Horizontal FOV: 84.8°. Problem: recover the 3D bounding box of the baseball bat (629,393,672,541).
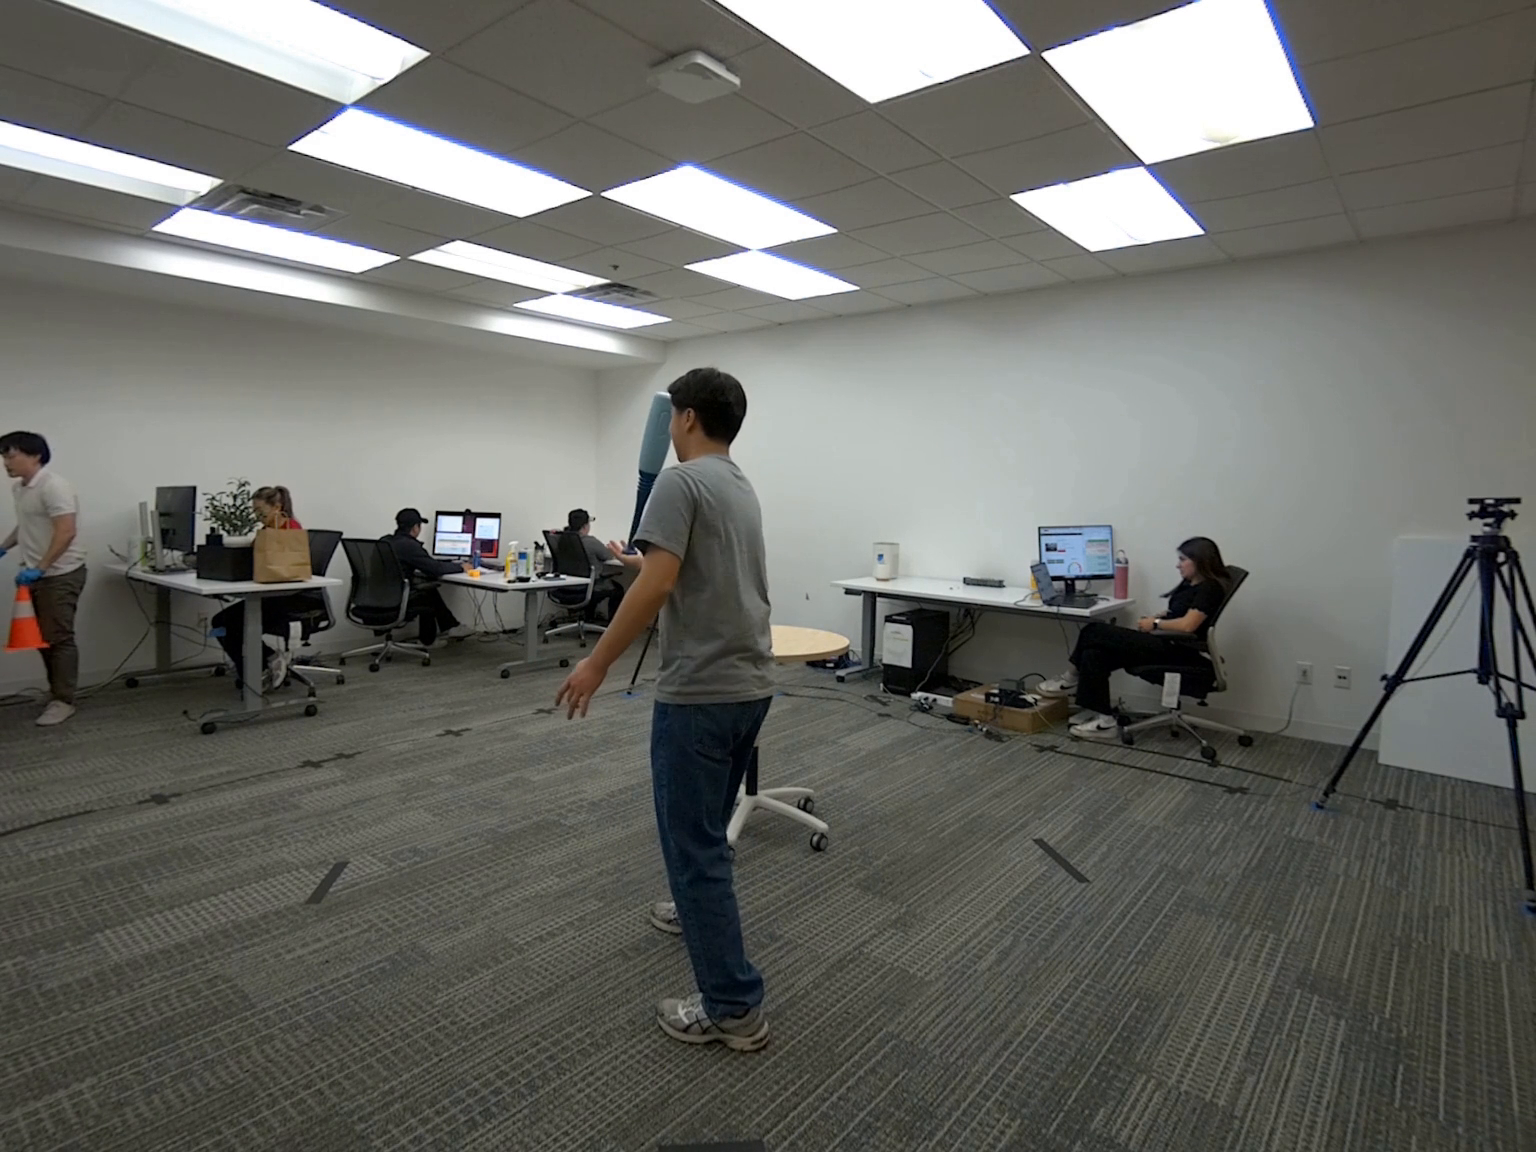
[{"bbox_3d":[-0.379,-0.310,2.680,0.088,0.538,0.090,14,14,-6],"label":"baseball bat"}]
